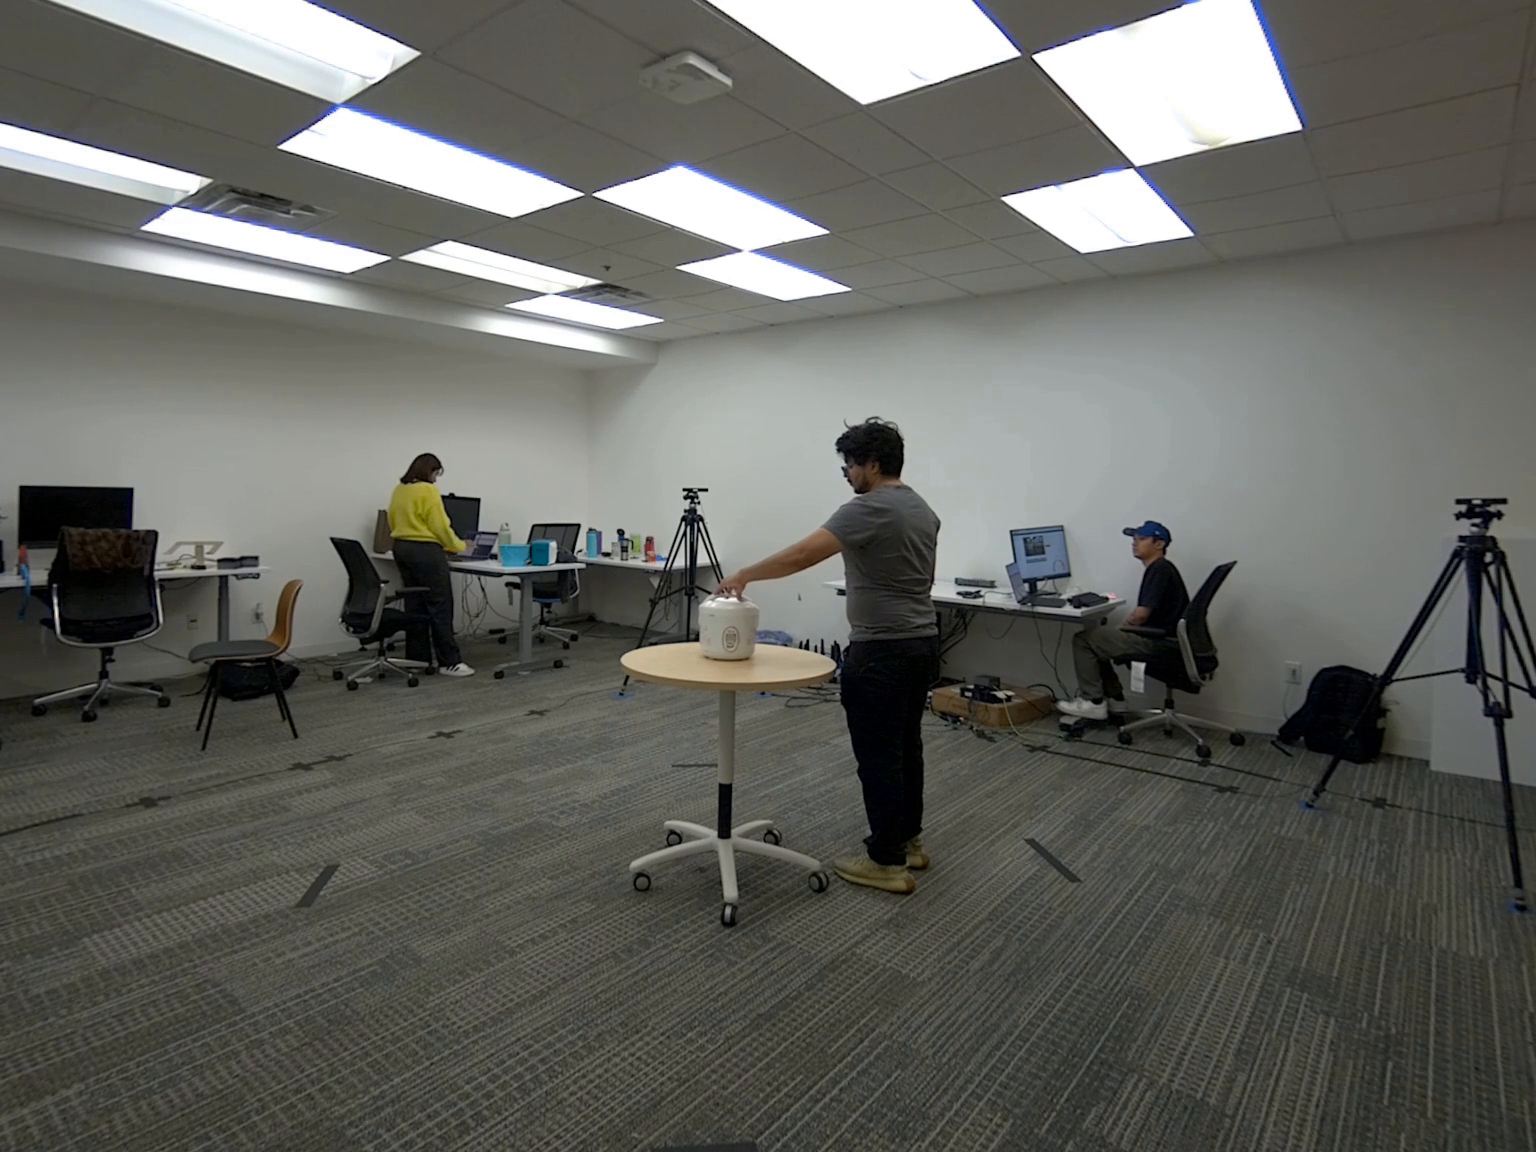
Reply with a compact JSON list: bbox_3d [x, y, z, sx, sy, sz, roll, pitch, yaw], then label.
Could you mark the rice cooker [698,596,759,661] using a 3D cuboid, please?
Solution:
[{"bbox_3d":[-0.152,0.172,3.104,0.219,0.232,0.220,0,3,-7],"label":"rice cooker"}]
